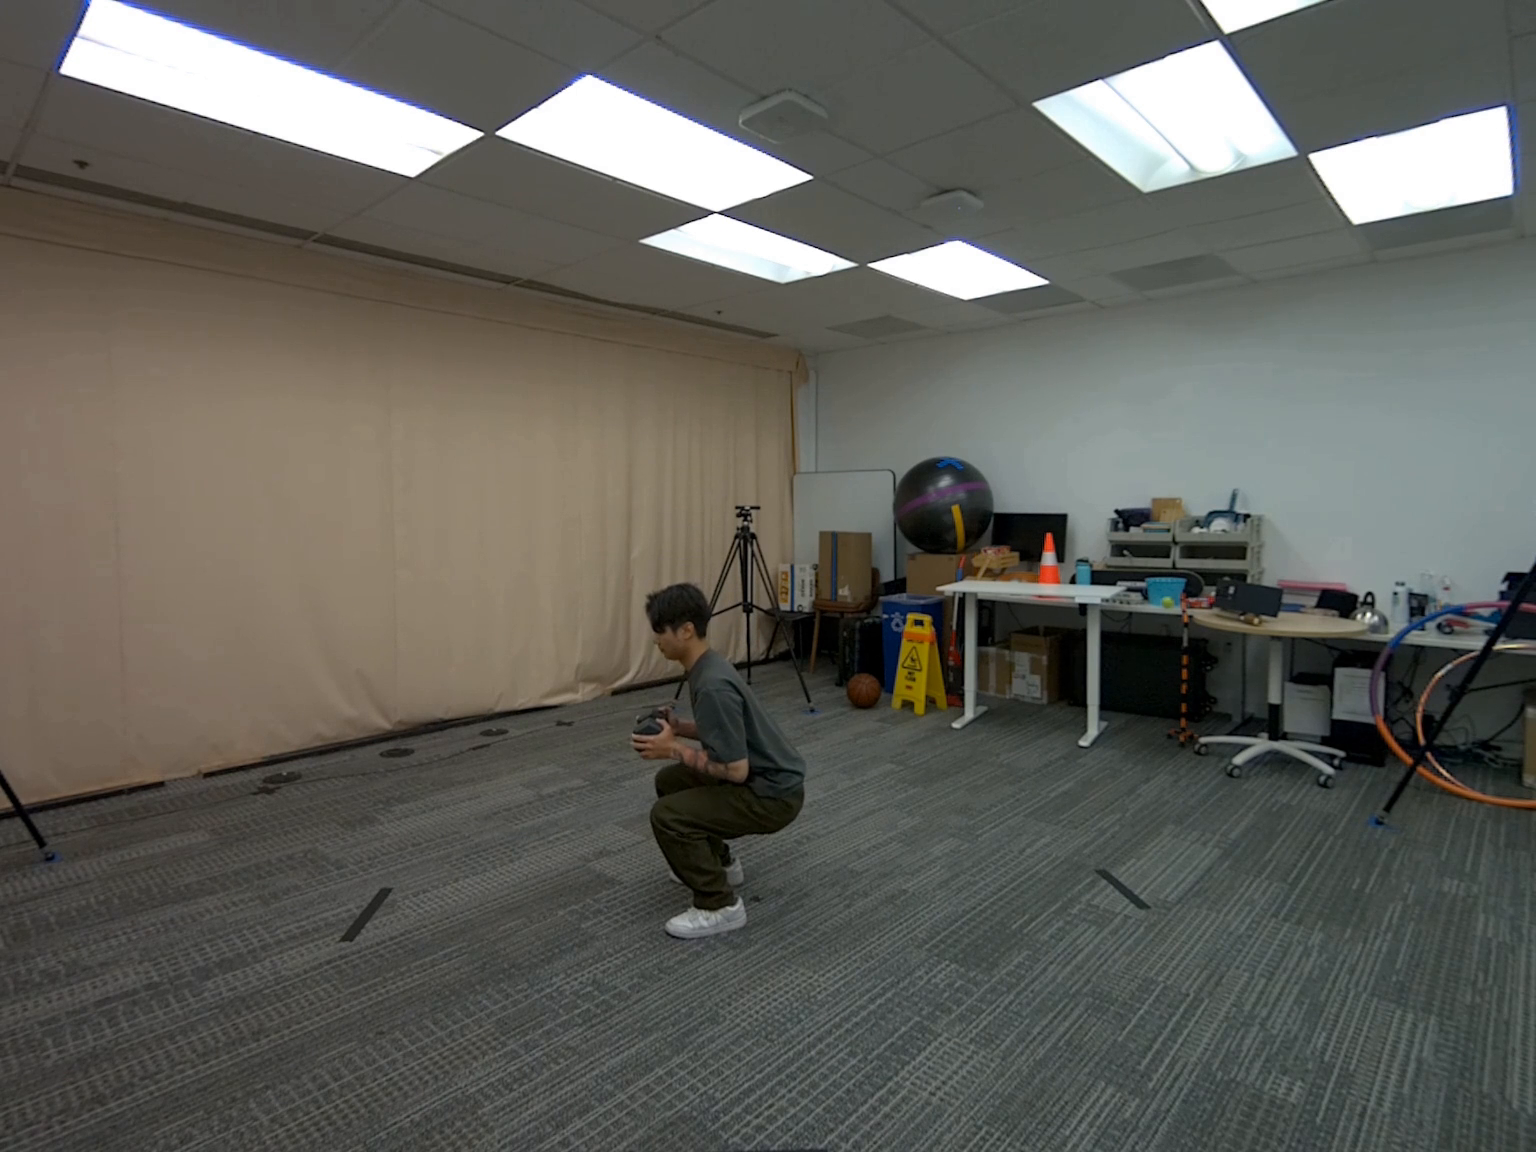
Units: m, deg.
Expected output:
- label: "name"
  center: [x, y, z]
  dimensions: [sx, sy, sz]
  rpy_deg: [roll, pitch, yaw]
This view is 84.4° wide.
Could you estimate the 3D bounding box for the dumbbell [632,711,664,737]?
- label: "dumbbell"
  center: [-0.399, 0.537, 2.935]
  dimensions: [0.122, 0.109, 0.295]
  rpy_deg: [28, -1, -5]
